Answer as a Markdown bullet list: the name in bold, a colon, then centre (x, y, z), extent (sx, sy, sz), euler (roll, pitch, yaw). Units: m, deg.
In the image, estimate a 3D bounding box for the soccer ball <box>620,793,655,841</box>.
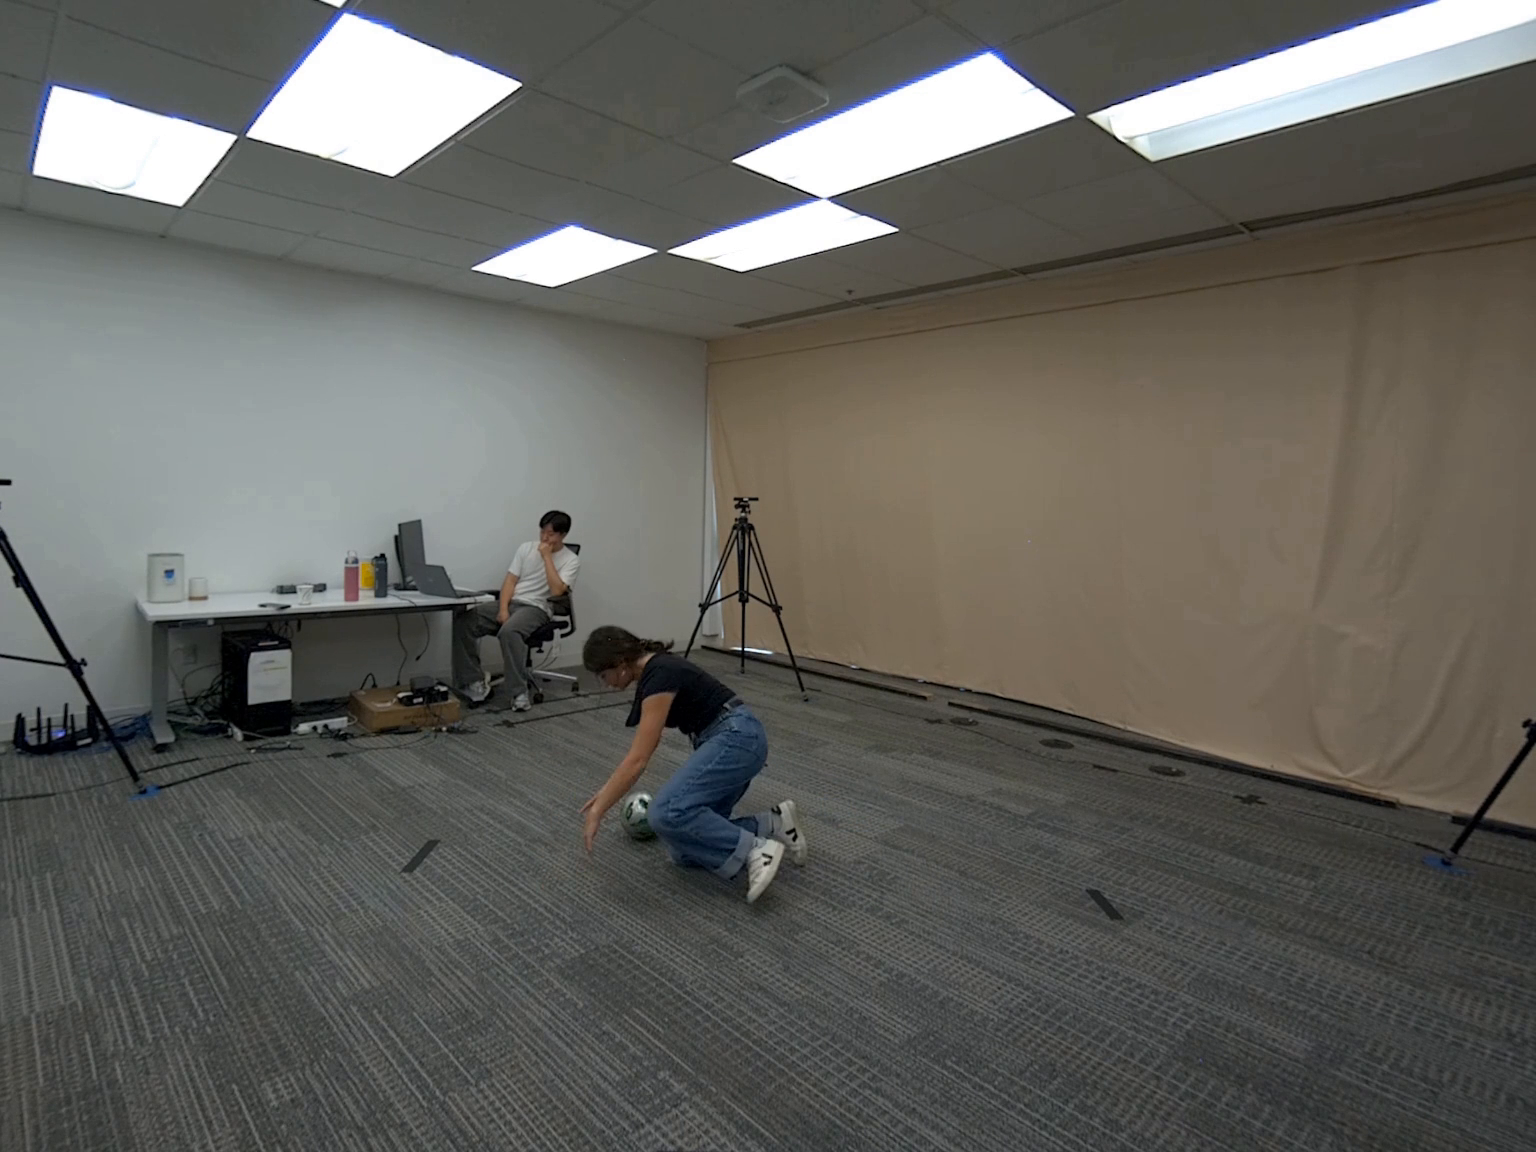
- **soccer ball**: centre (-0.519, 0.976, 3.431), extent (0.187, 0.187, 0.188), euler (1, 4, -1)
